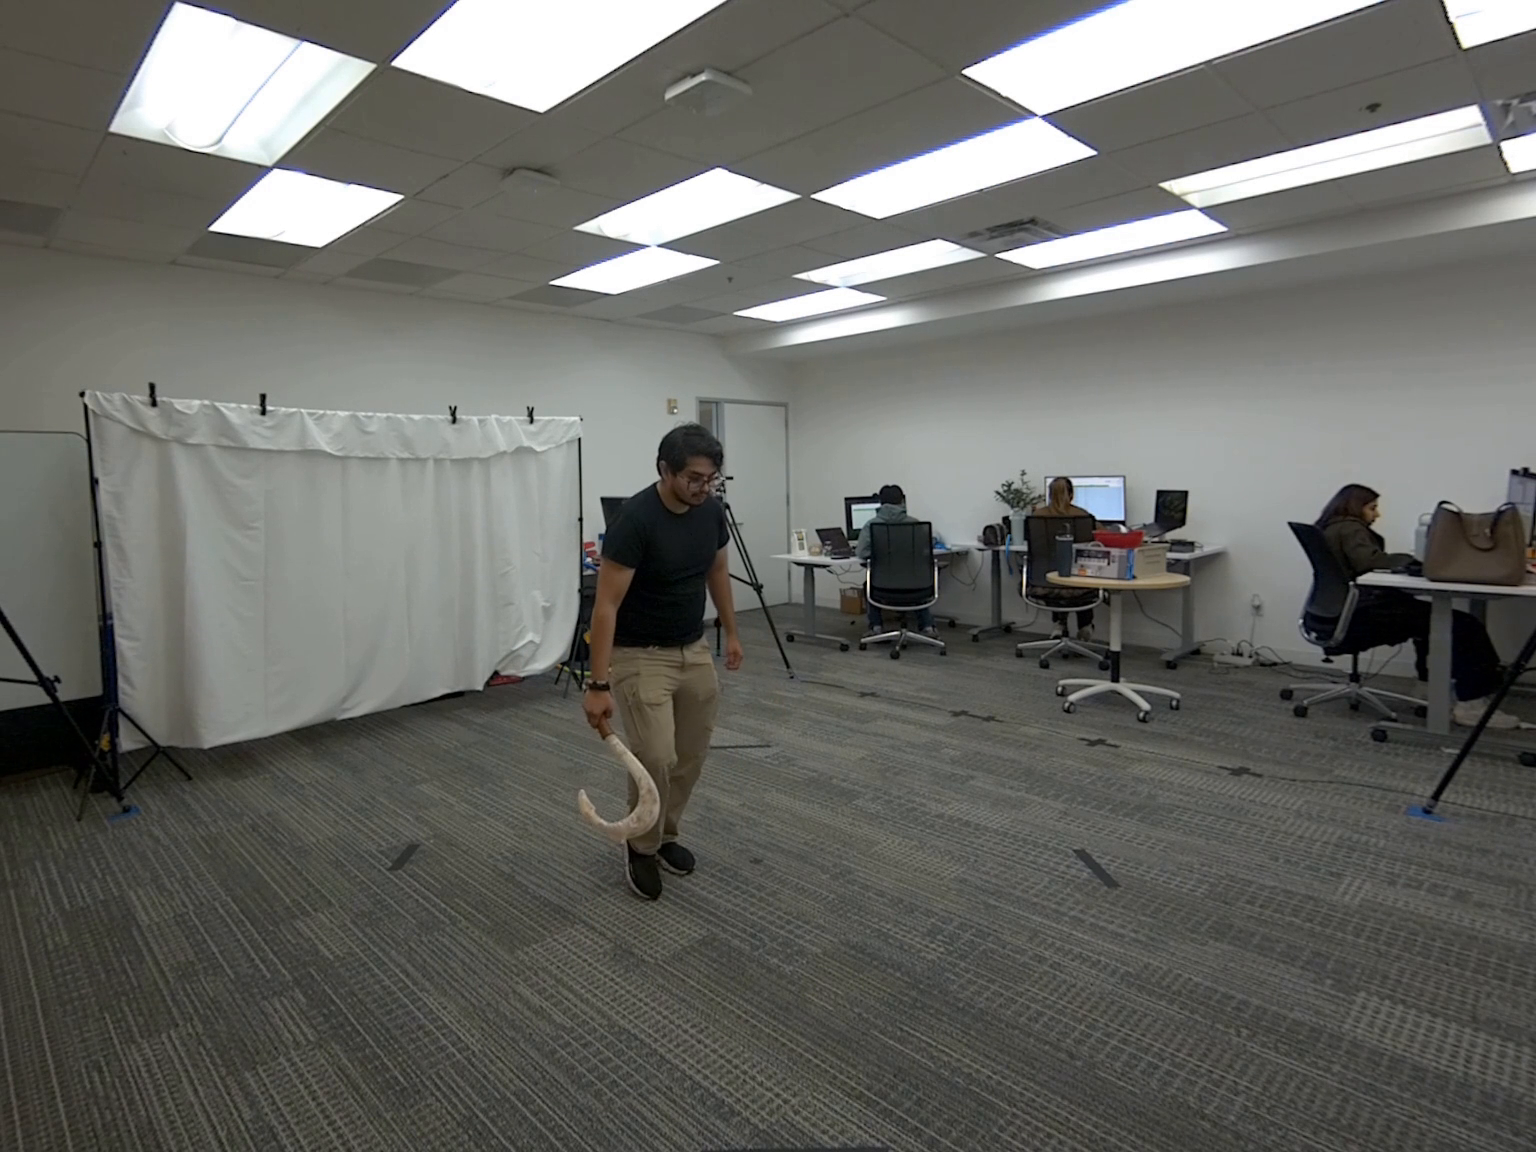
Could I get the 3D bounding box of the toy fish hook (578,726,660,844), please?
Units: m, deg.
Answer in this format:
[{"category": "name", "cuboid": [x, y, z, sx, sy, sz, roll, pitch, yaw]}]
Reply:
[{"category": "toy fish hook", "cuboid": [-0.507, 0.565, 2.589, 0.222, 0.522, 0.047, -19, -28, -20]}]
